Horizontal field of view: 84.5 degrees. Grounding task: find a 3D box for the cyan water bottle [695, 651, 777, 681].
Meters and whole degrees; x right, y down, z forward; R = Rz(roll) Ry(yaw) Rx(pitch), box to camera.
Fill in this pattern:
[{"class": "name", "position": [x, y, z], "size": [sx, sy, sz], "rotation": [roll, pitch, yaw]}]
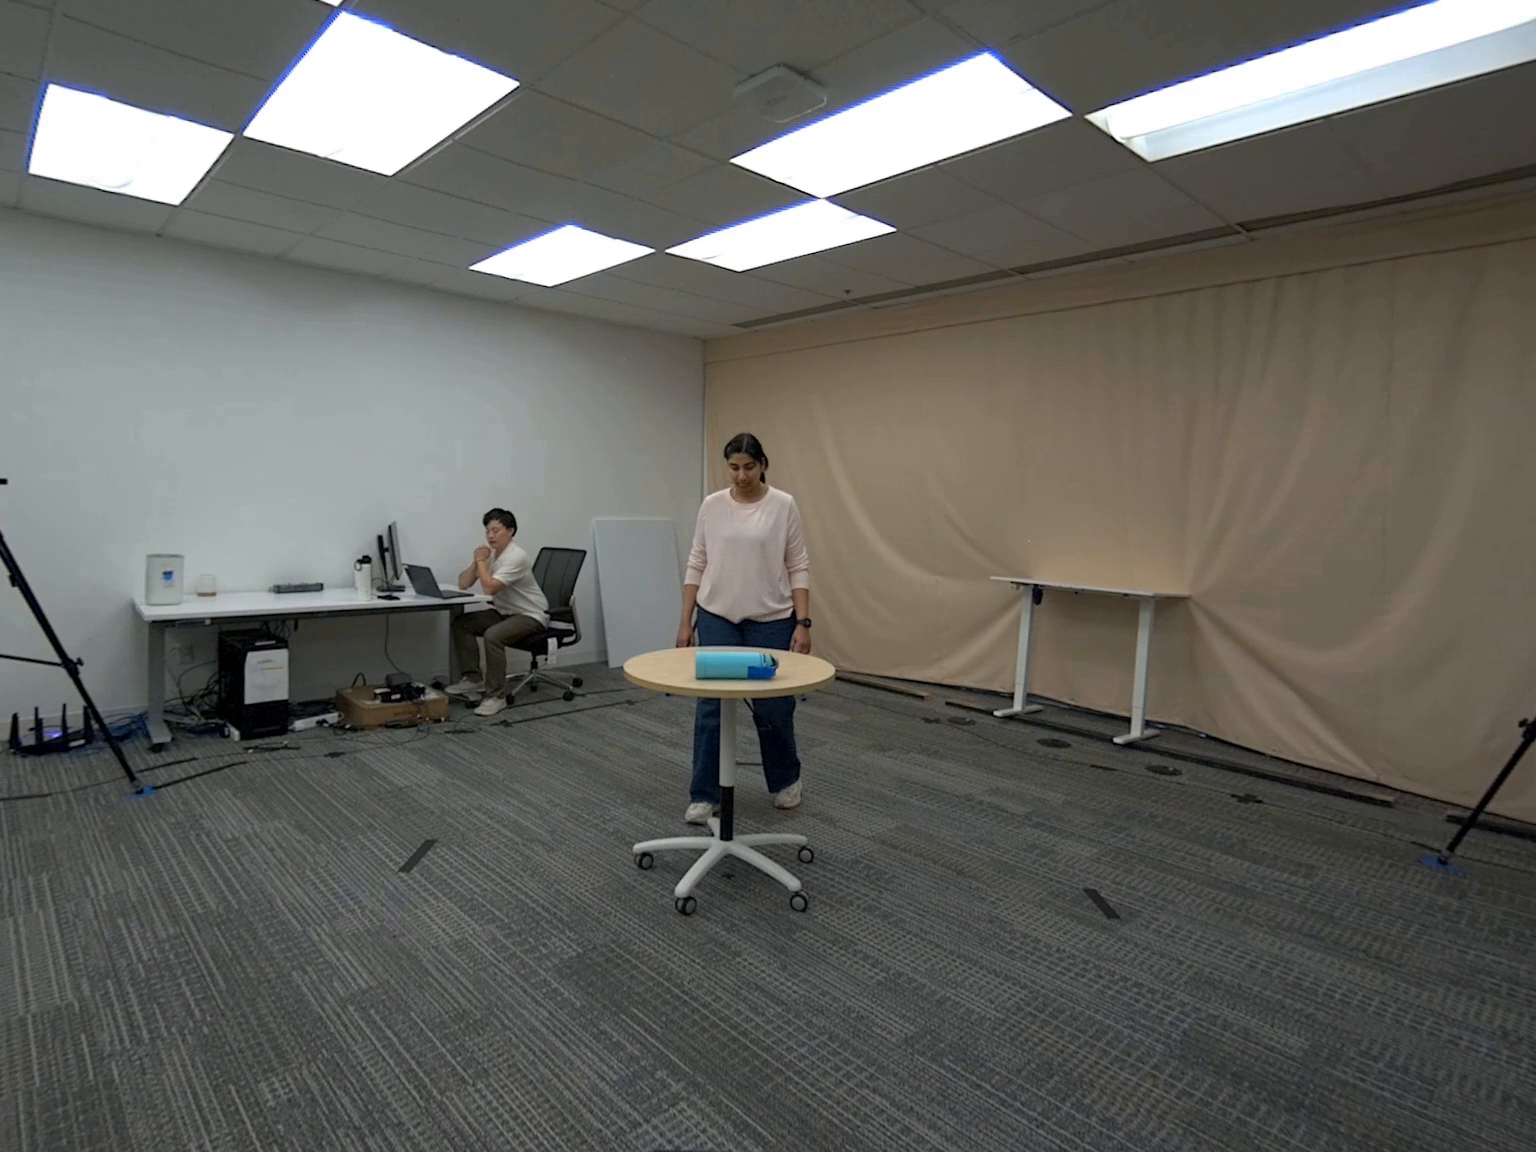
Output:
[{"class": "cyan water bottle", "position": [-0.120, 0.306, 2.849], "size": [0.283, 0.092, 0.093], "rotation": [1, 4, -2]}]
